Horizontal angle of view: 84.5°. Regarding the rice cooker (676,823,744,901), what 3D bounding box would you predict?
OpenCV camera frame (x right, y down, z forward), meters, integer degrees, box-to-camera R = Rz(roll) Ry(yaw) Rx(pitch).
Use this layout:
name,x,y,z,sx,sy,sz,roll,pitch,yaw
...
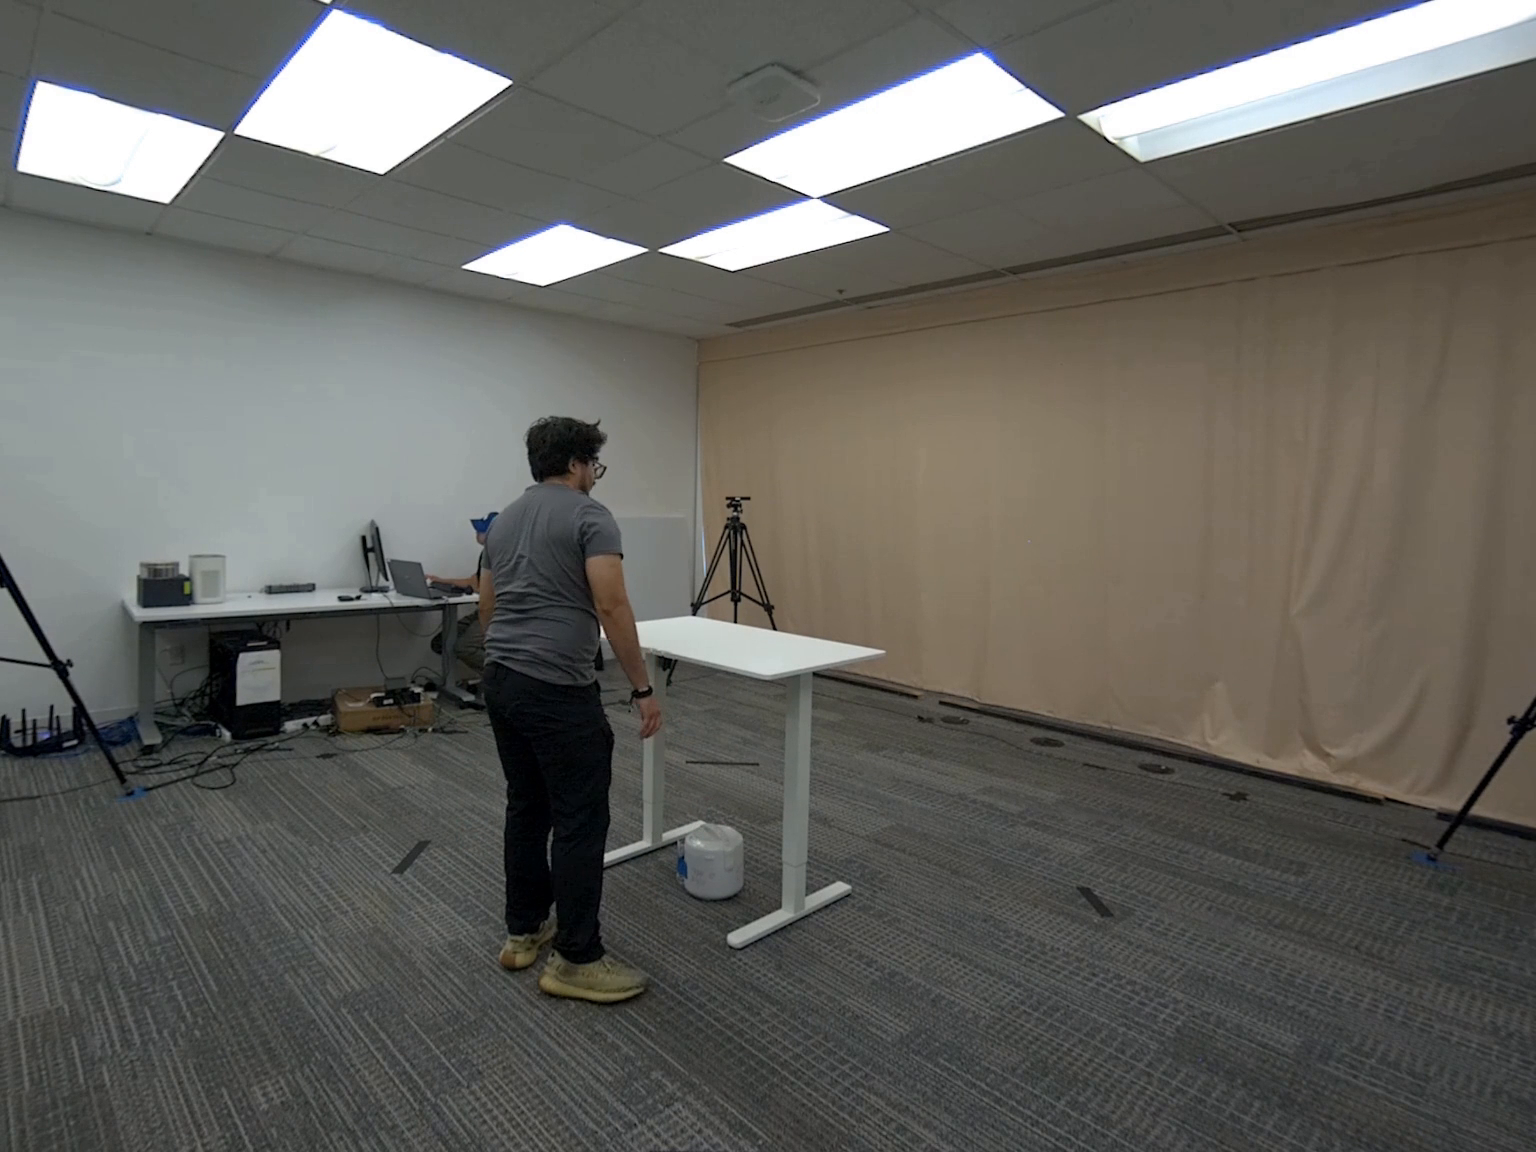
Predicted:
name,x,y,z,sx,sy,sz,roll,pitch,yaw
rice cooker,-0.197,1.005,2.984,0.213,0.232,0.226,-3,6,-33
